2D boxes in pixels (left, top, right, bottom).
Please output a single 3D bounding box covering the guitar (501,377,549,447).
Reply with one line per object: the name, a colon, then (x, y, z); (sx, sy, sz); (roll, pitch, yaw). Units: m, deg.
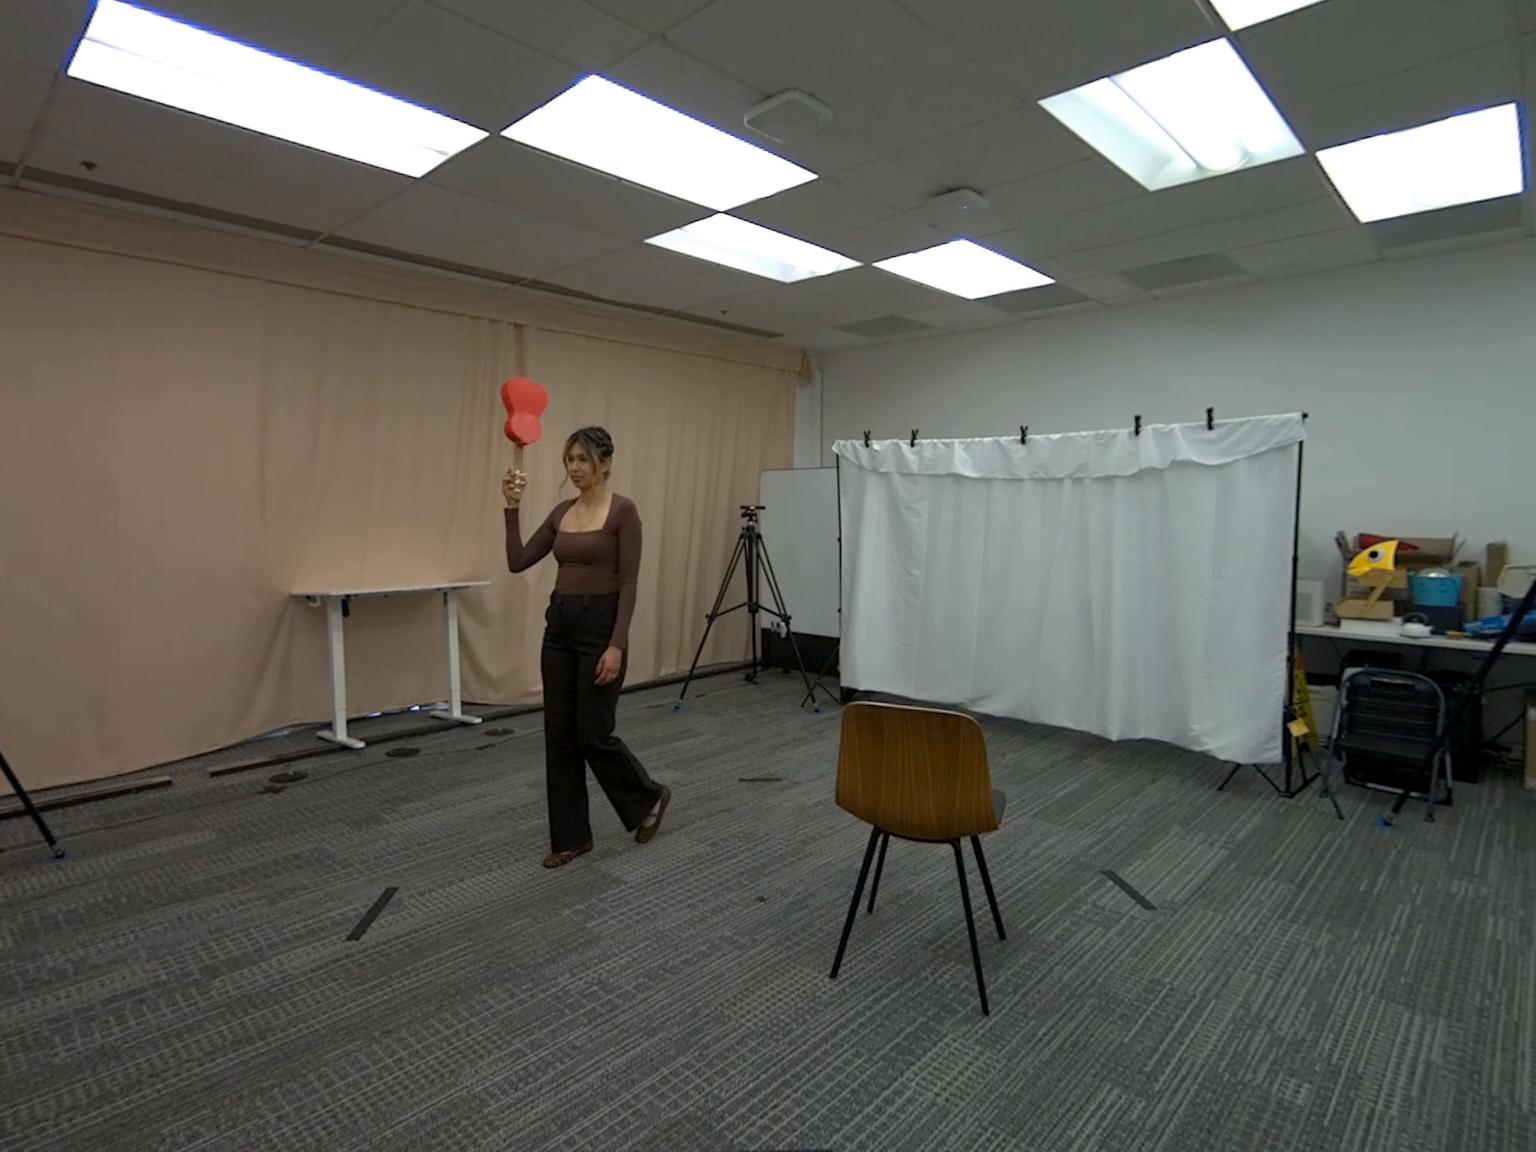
guitar: (-0.973, -0.559, 3.435); (0.072, 0.501, 0.187); (-16, -11, 39)
